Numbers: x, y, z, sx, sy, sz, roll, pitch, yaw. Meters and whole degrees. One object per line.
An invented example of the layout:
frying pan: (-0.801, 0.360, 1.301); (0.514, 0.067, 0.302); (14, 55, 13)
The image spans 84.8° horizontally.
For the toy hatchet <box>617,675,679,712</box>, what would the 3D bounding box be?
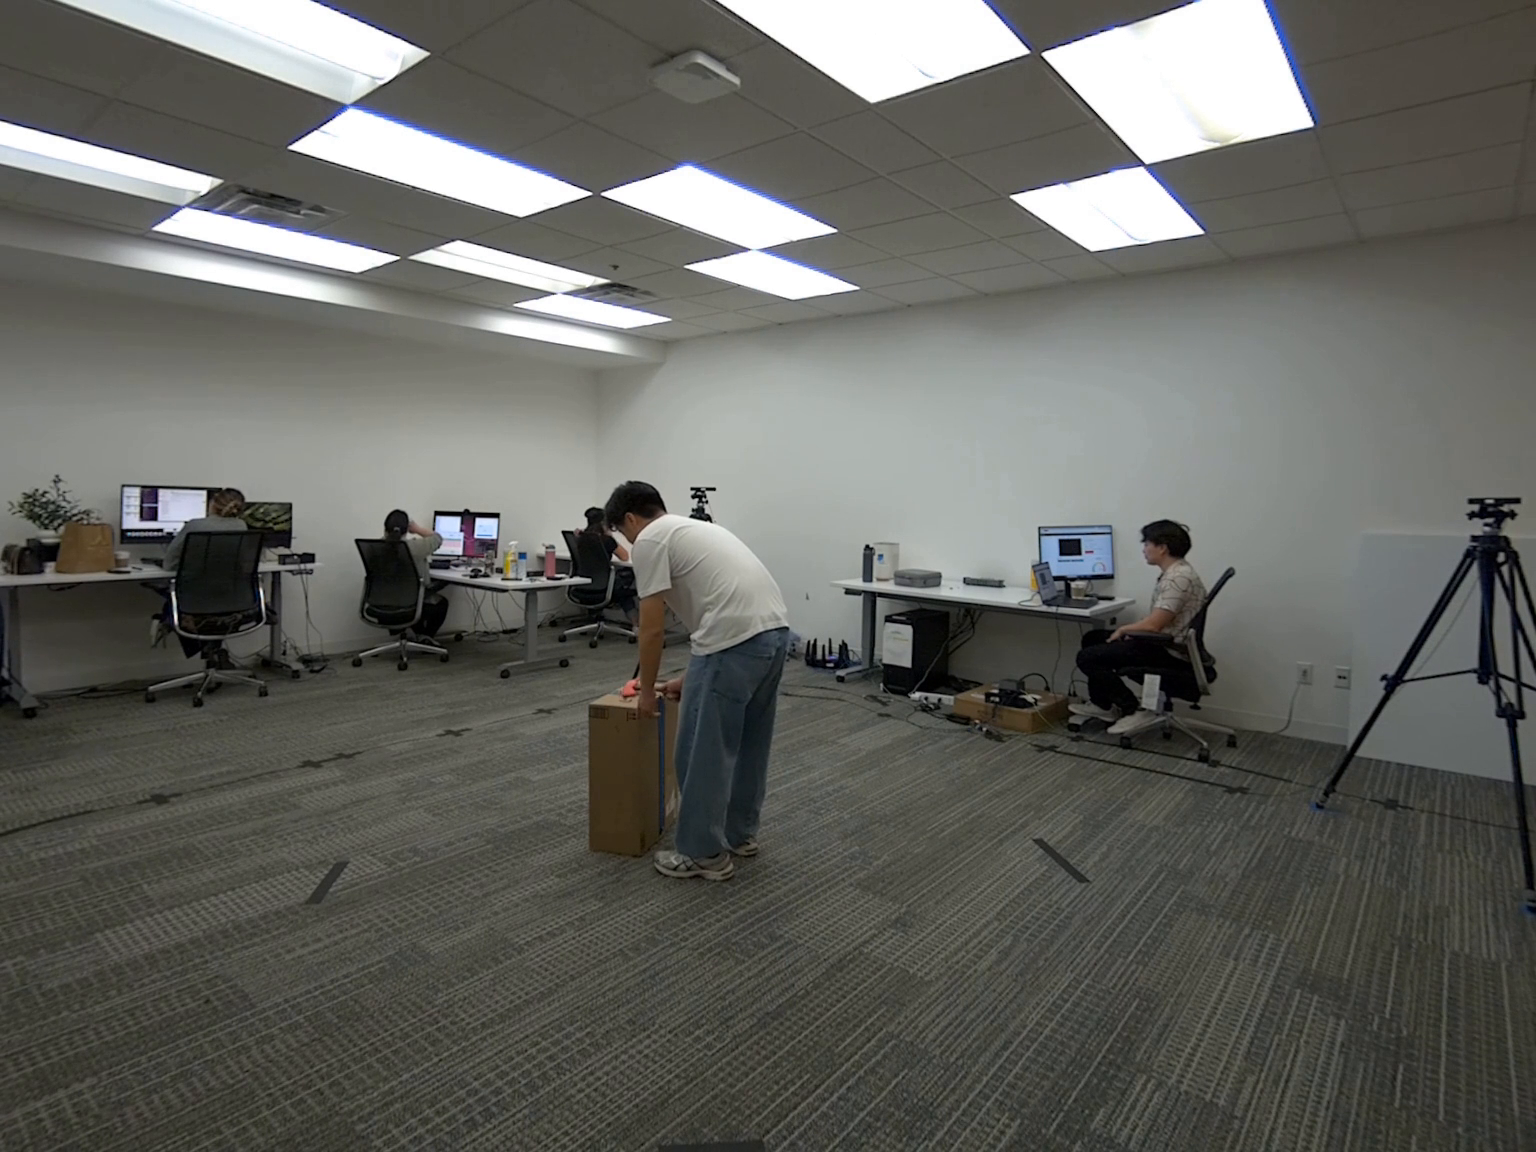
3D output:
toy hatchet: (-0.460, 0.457, 3.332); (0.280, 0.029, 0.128); (13, 25, 39)
